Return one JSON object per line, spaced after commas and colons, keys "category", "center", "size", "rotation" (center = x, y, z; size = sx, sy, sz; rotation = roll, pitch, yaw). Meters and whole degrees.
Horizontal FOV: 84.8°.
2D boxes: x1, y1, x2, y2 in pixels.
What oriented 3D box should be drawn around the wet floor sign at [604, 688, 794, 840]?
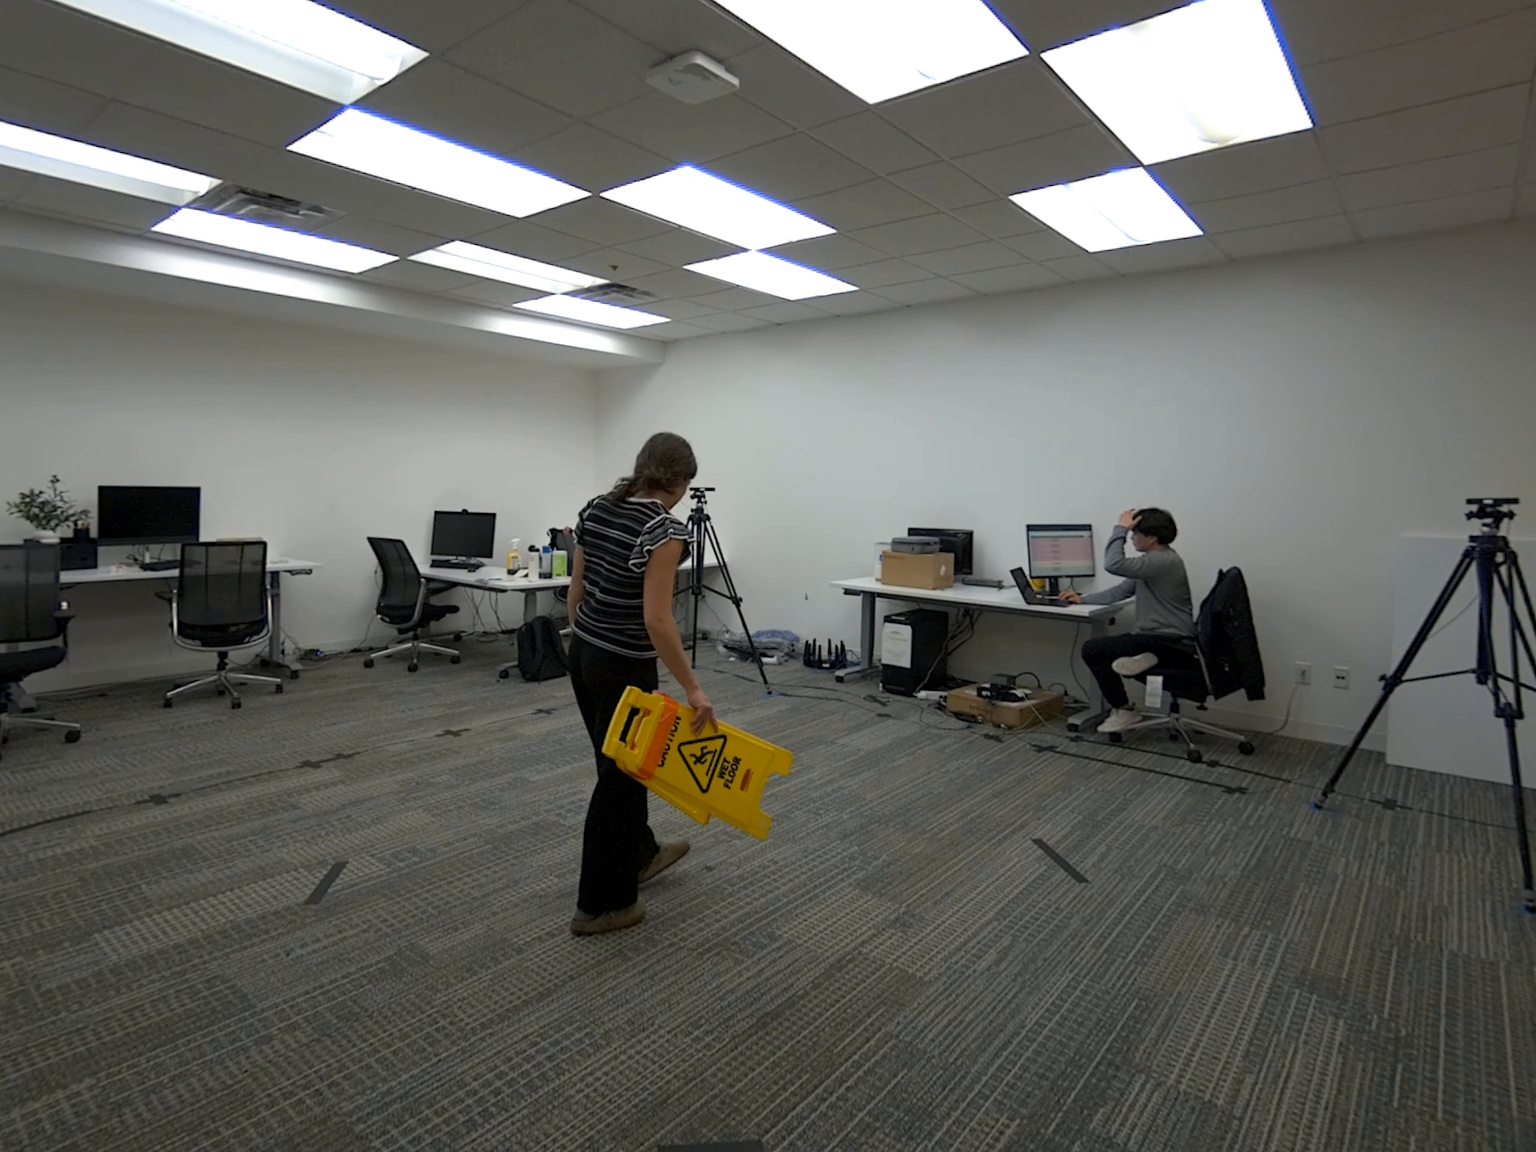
{"category": "wet floor sign", "center": [-0.243, 0.539, 2.527], "size": [0.299, 0.285, 0.619], "rotation": [0, -29, 42]}
